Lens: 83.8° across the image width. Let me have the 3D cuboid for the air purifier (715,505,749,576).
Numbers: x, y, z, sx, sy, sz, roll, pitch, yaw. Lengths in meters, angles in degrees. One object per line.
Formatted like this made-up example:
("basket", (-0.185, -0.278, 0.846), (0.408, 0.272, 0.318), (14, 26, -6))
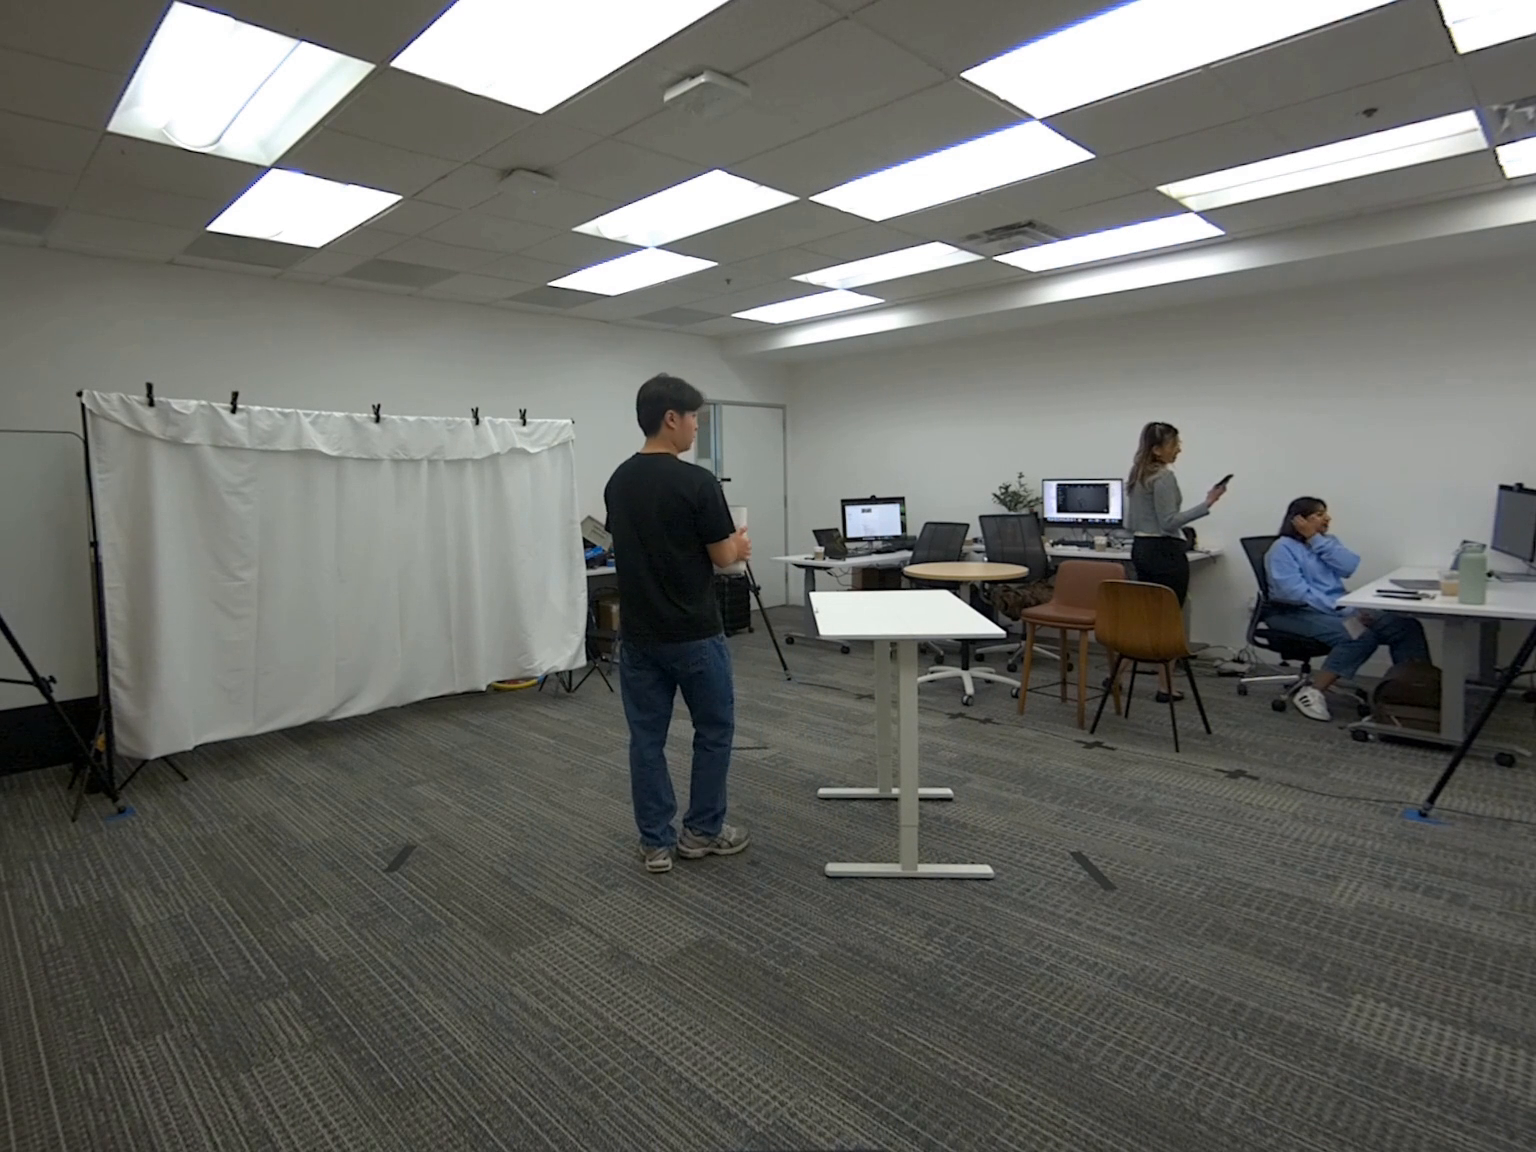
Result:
("air purifier", (-0.171, -0.142, 3.362), (0.171, 0.265, 0.171), (0, 0, -4))
